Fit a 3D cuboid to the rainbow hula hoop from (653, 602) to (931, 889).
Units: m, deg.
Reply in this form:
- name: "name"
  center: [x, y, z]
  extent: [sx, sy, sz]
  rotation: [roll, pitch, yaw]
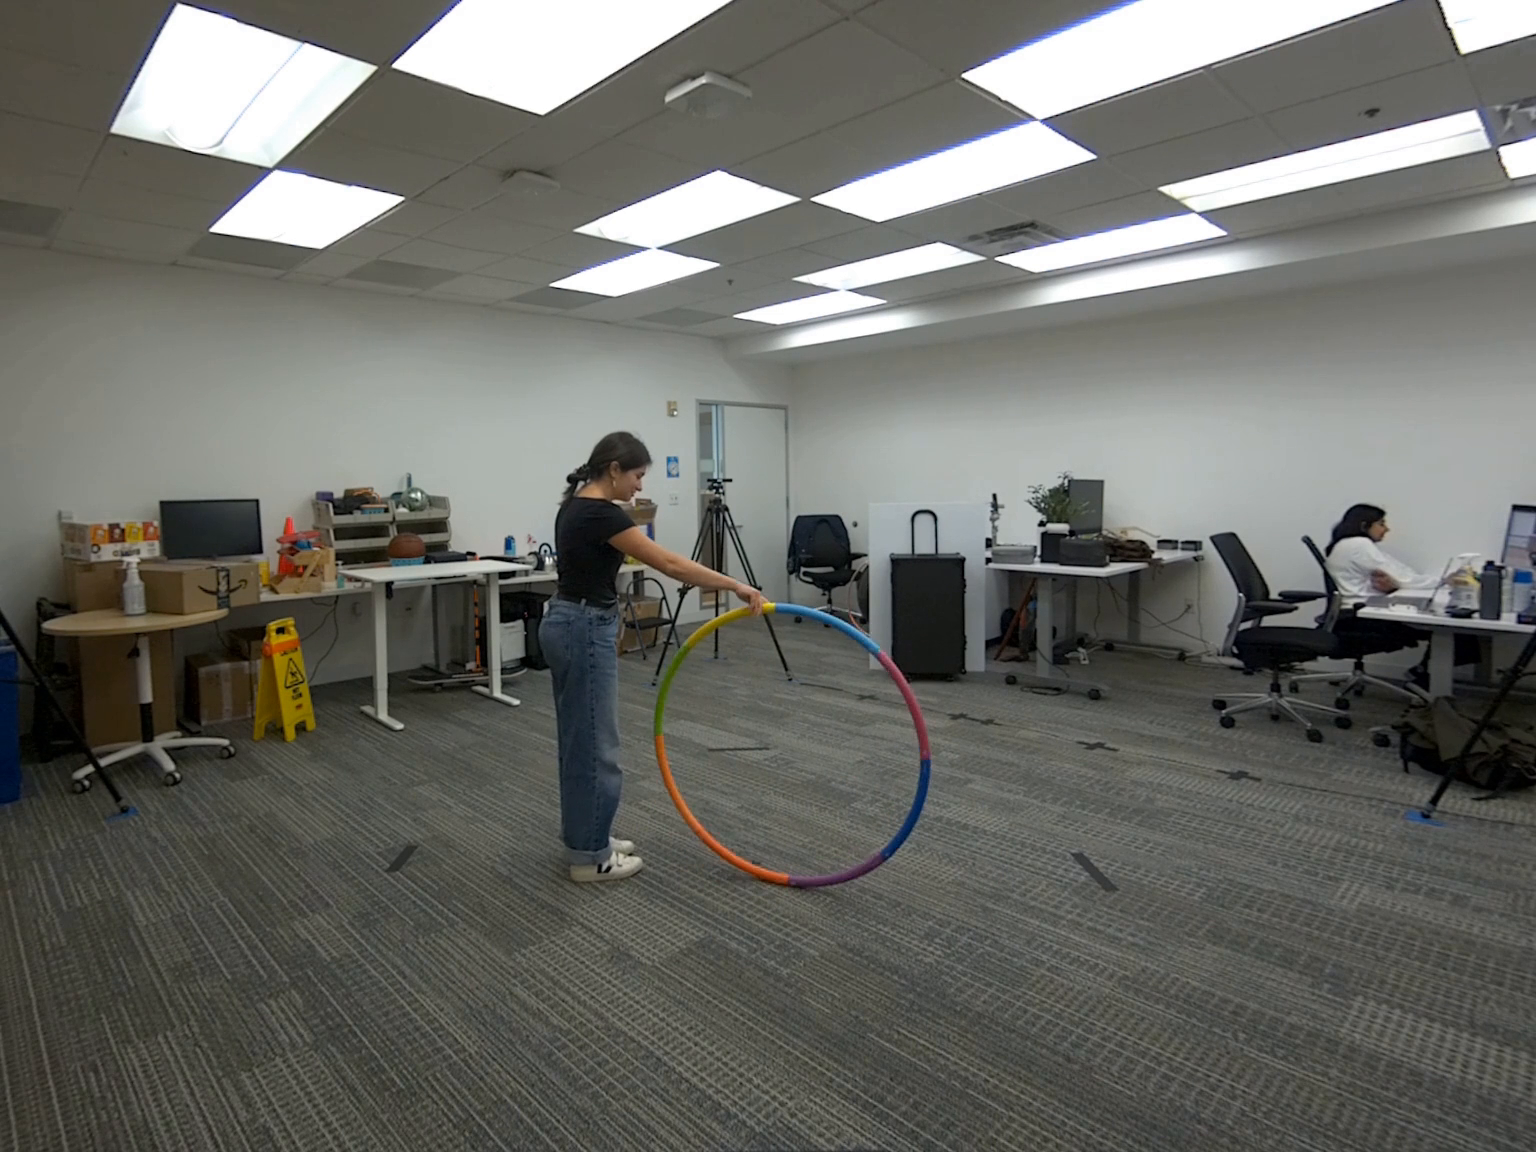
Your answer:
- name: "rainbow hula hoop"
  center: [0.051, 0.578, 2.908]
  extent: [1.001, 0.975, 0.035]
  rotation: [1, 4, 25]
